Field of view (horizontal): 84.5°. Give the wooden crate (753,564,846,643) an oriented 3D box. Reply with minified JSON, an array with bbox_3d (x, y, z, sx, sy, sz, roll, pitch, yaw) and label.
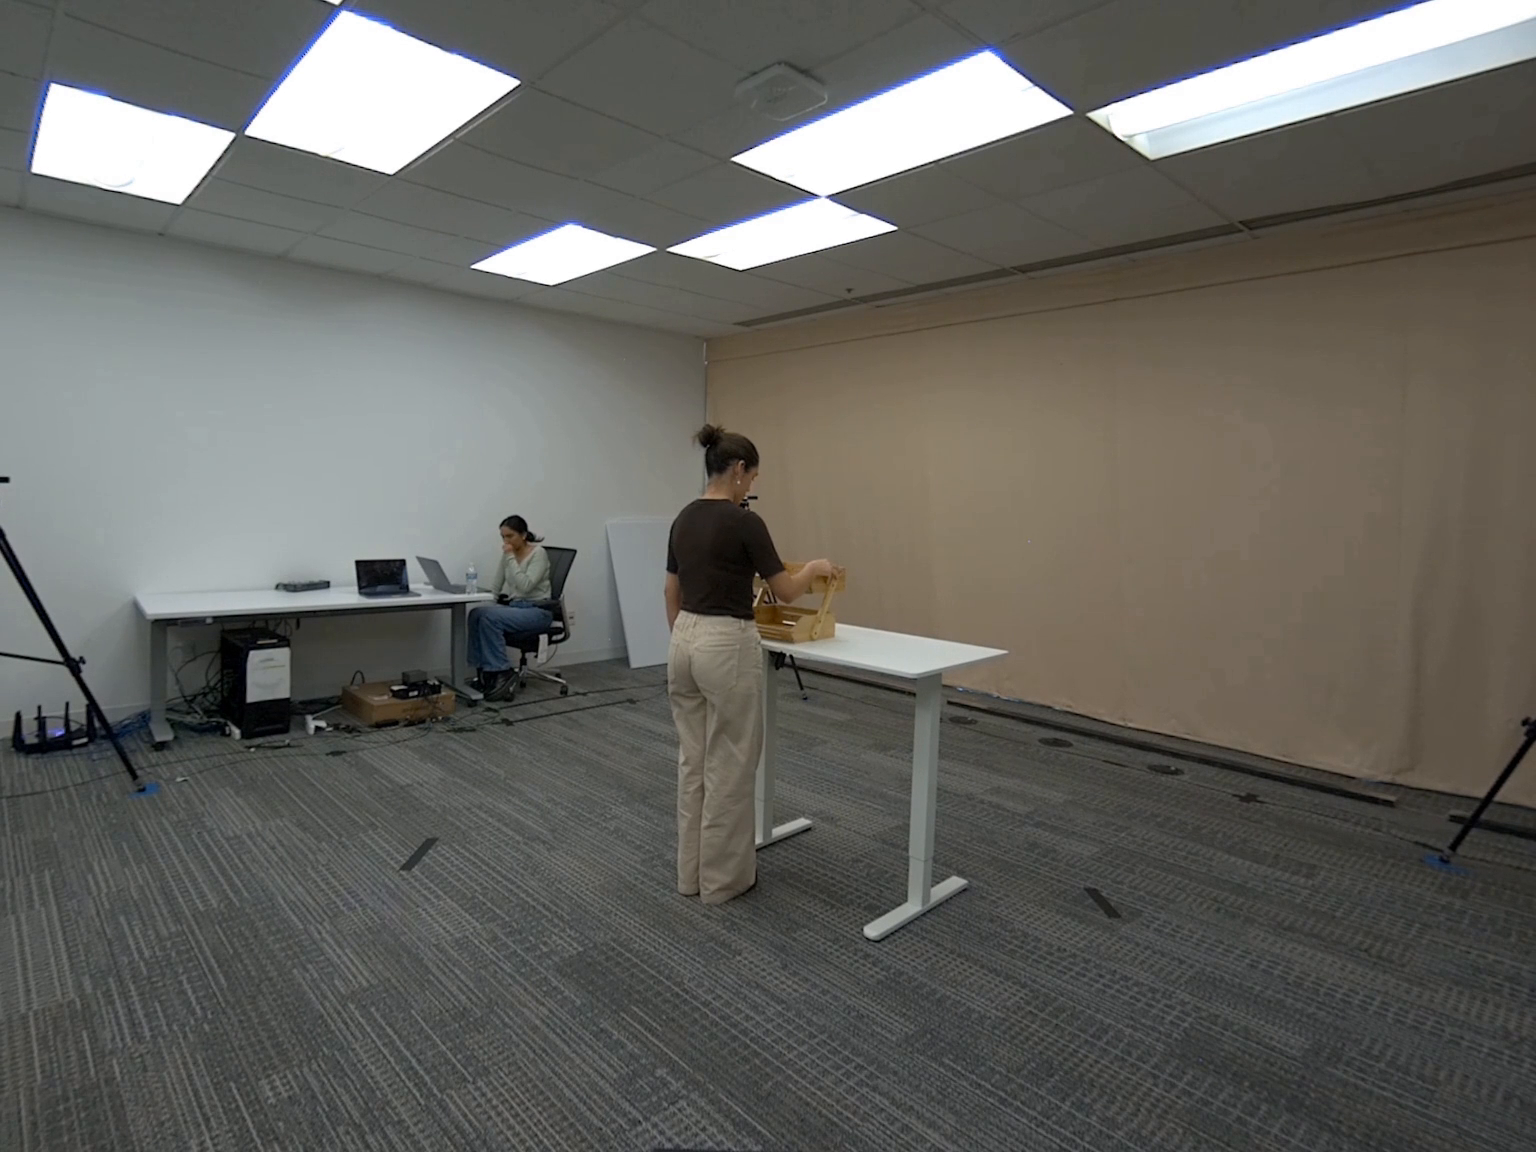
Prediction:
[{"bbox_3d":[0.069,0.086,3.153,0.333,0.273,0.295,6,5,43],"label":"wooden crate"}]
